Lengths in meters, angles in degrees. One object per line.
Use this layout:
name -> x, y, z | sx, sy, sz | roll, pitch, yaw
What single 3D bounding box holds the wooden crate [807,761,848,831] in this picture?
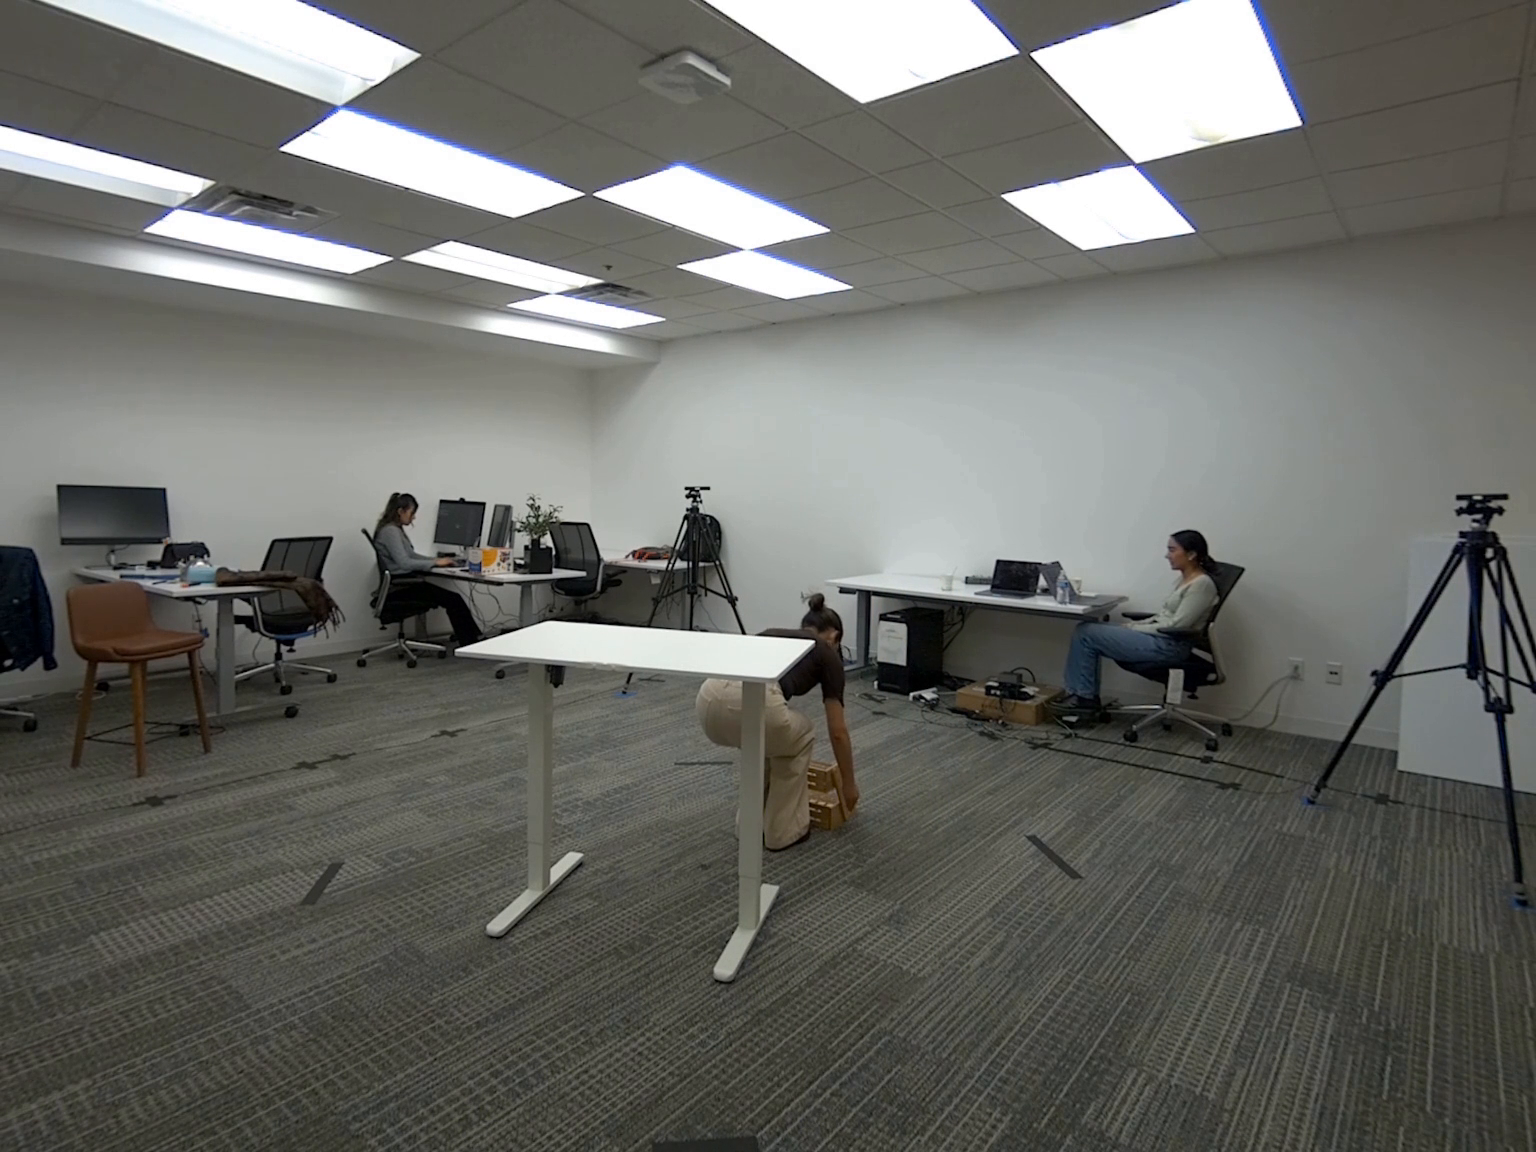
wooden crate -> 0.172, 0.882, 3.635 | 0.334, 0.272, 0.294 | 3, 5, 32
